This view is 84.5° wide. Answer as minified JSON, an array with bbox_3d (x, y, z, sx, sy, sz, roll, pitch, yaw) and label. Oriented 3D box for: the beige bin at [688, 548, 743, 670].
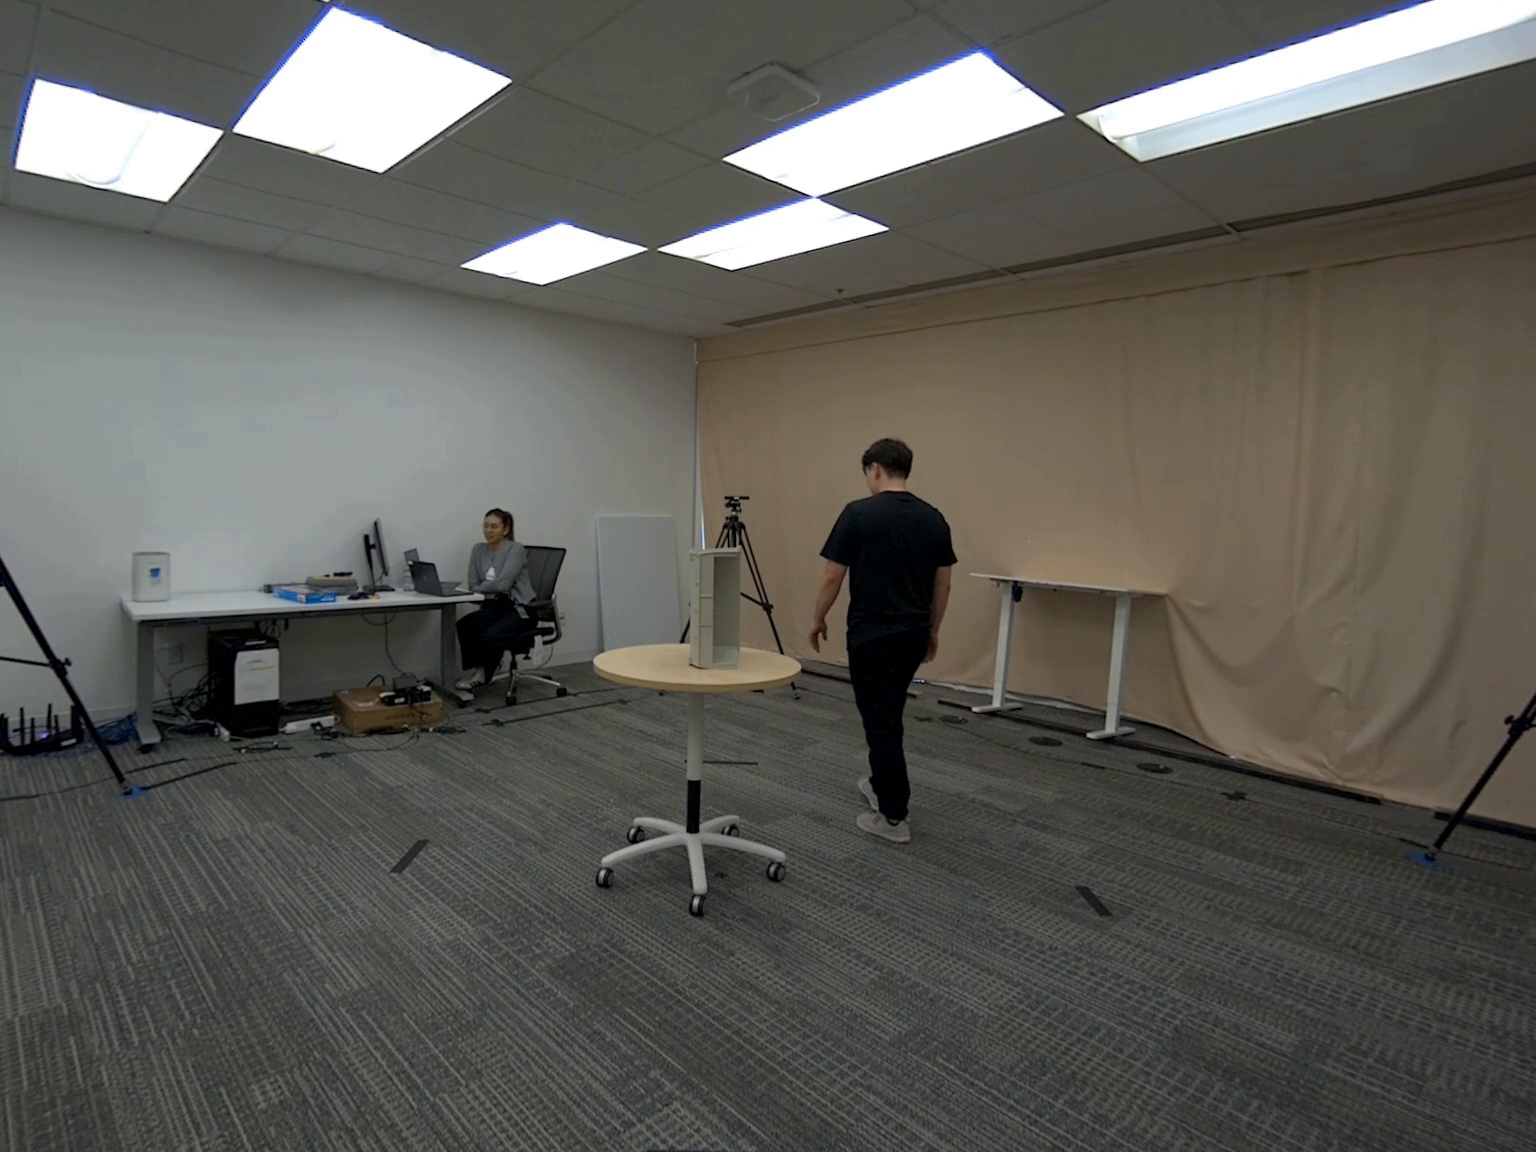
[{"bbox_3d":[-0.197,0.106,3.156,0.189,0.421,0.378,0,4,0],"label":"beige bin"}]
